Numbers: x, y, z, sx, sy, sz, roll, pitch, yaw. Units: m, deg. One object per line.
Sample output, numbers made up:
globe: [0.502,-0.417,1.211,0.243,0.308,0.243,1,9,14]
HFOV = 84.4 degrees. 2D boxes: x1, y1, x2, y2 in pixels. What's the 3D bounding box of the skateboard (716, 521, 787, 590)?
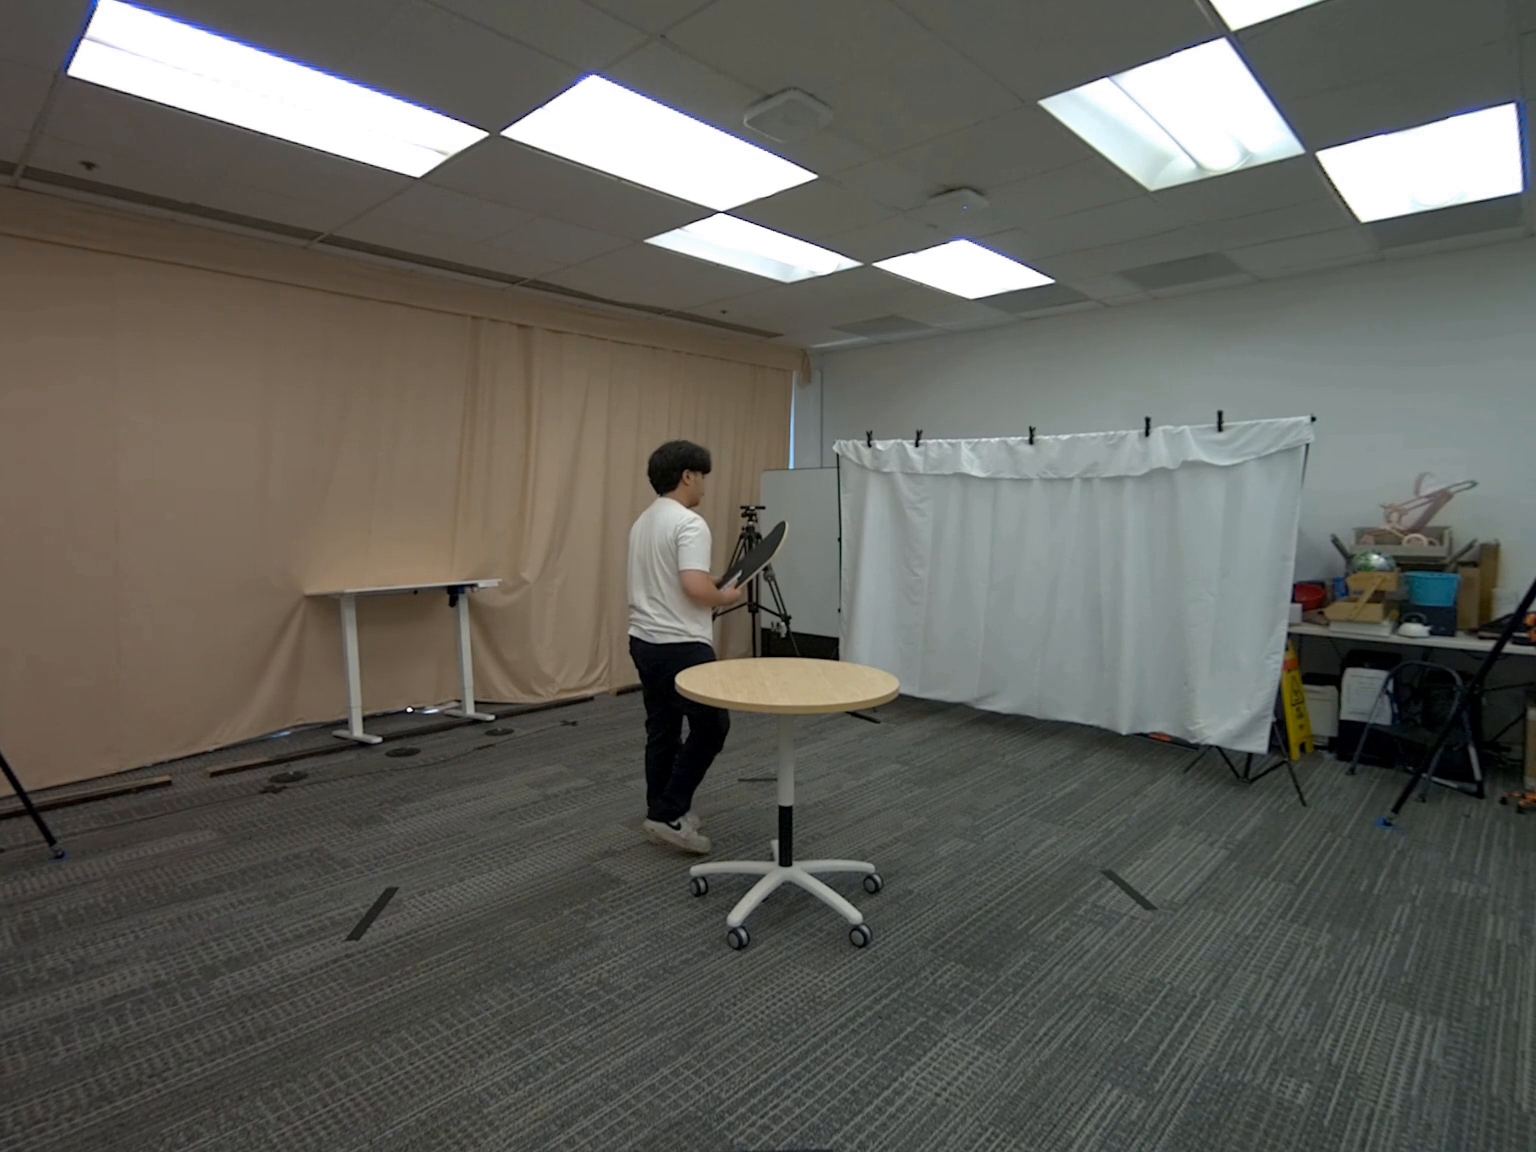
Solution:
skateboard: [-0.150,0.069,3.574,0.107,0.791,0.197,37,25,-24]
